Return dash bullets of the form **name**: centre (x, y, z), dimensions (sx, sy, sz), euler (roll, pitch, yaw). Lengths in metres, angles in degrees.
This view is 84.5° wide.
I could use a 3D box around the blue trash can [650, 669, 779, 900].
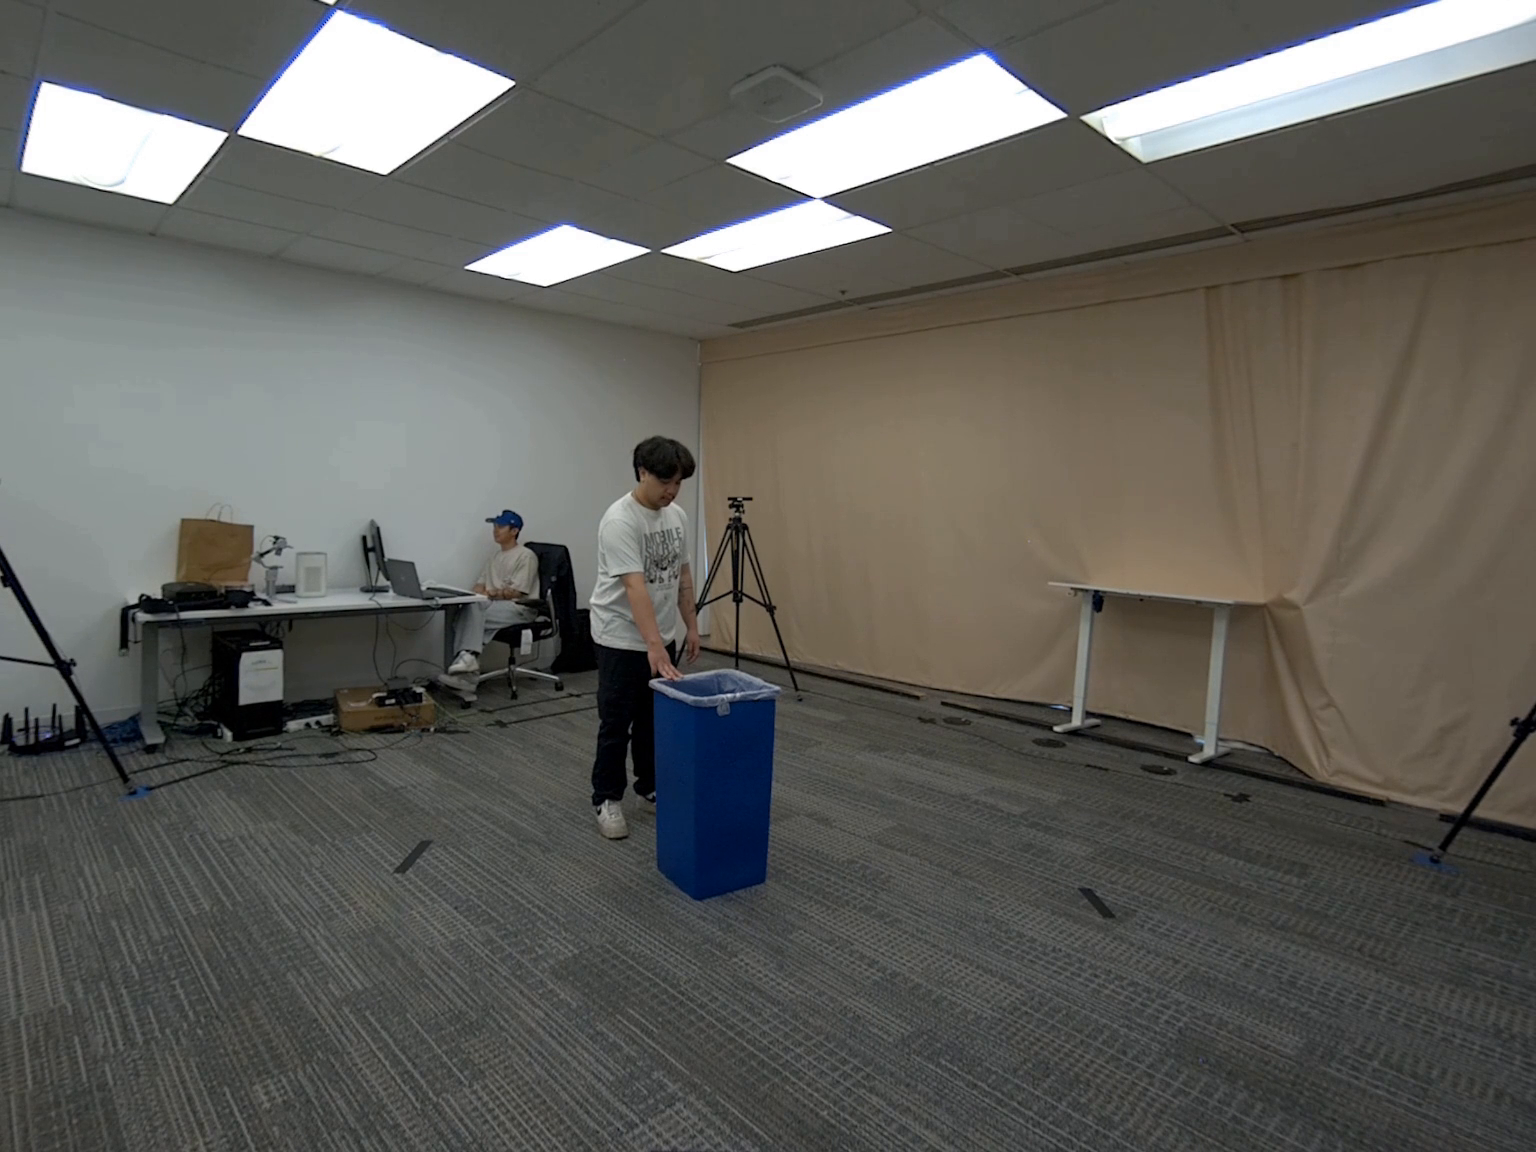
- **blue trash can**: centre (-0.215, 0.749, 3.096), dimensions (0.370, 0.712, 0.383), euler (-1, 4, -34)
